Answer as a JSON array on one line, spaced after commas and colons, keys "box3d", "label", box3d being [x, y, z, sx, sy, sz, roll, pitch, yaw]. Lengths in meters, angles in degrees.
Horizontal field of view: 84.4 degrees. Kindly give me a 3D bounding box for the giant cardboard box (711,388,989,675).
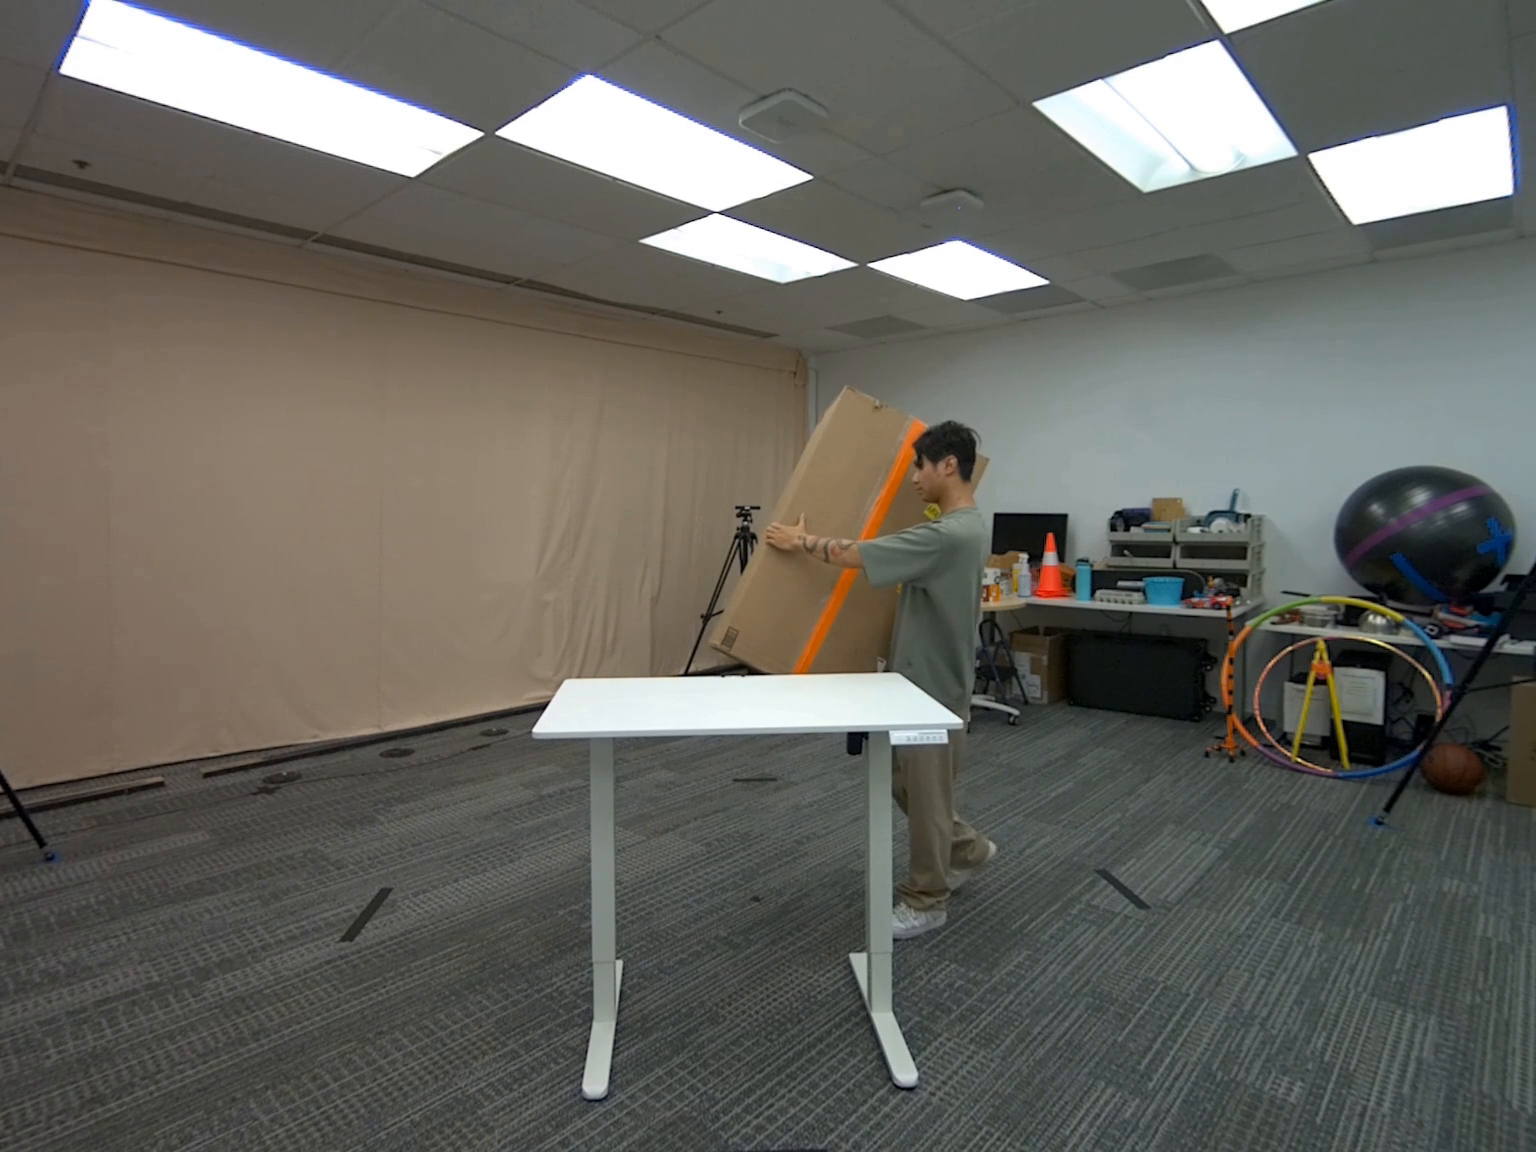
[{"box3d": [0.278, -0.071, 3.092, 0.575, 1.026, 0.428, 27, -7, -4], "label": "giant cardboard box"}]
